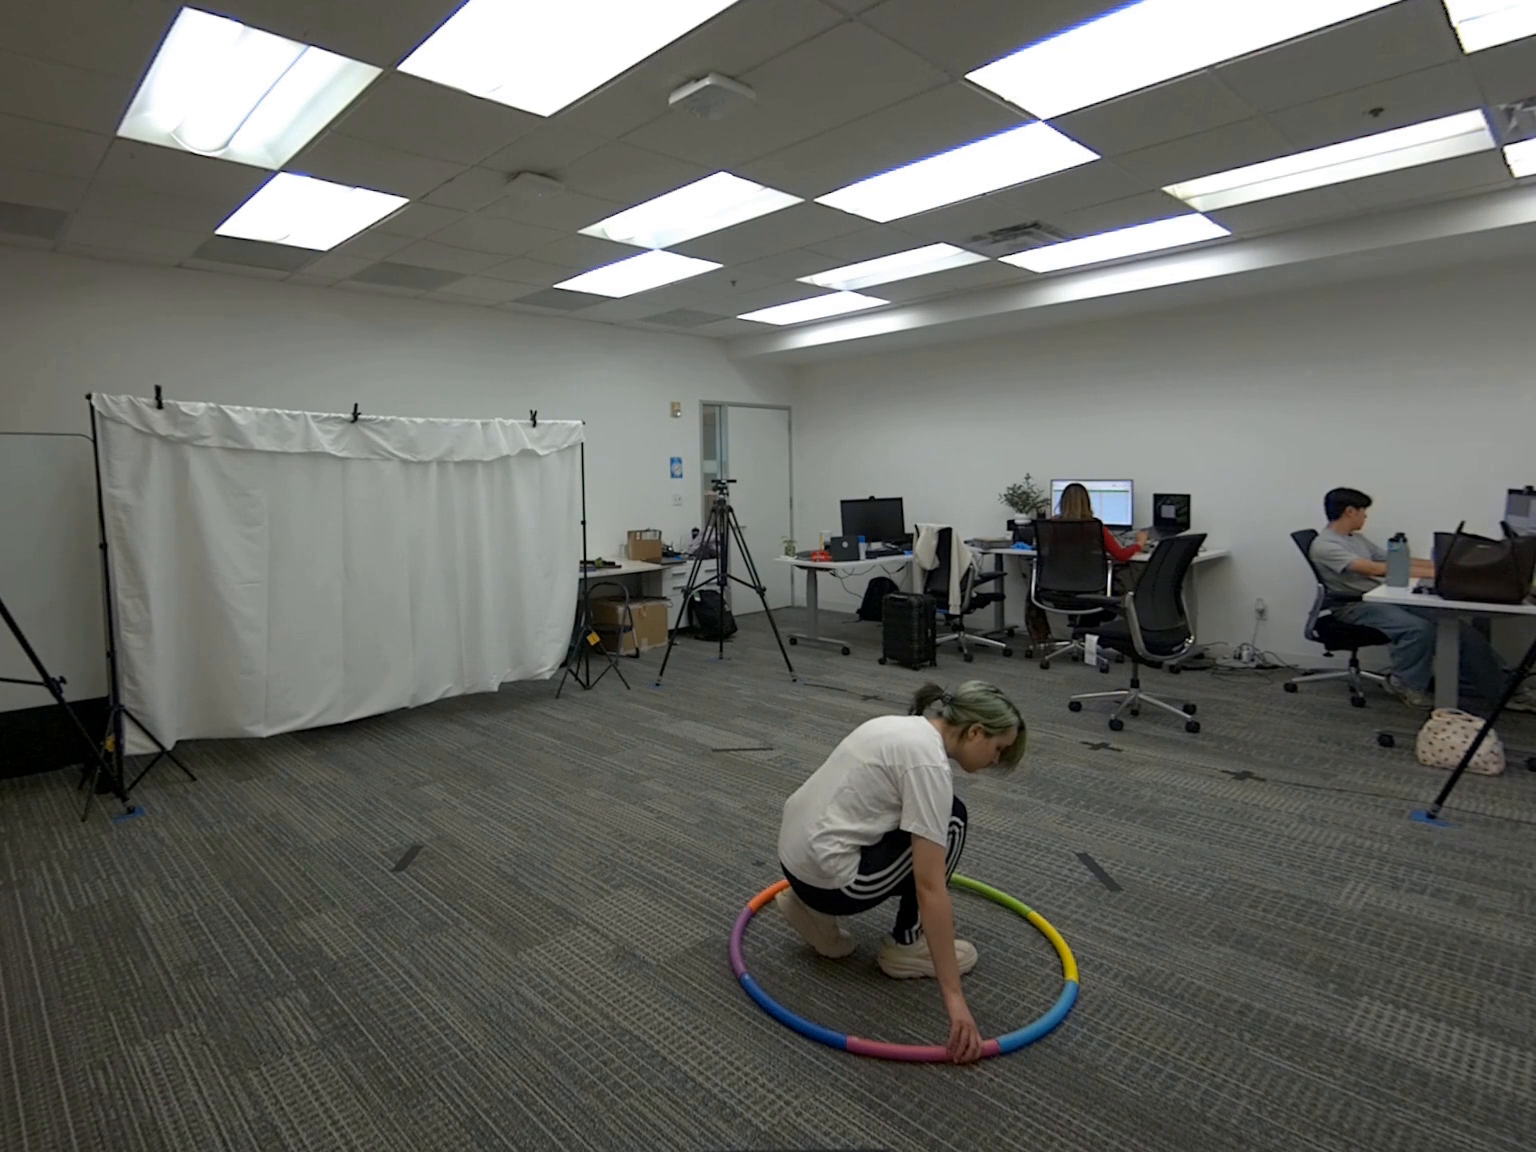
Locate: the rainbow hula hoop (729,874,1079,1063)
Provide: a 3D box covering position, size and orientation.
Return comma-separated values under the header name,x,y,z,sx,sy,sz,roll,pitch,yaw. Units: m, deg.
name,x,y,z,sx,sy,sz,roll,pitch,yaw
rainbow hula hoop,0.383,1.076,2.516,0.985,0.051,0.991,-2,7,-2
